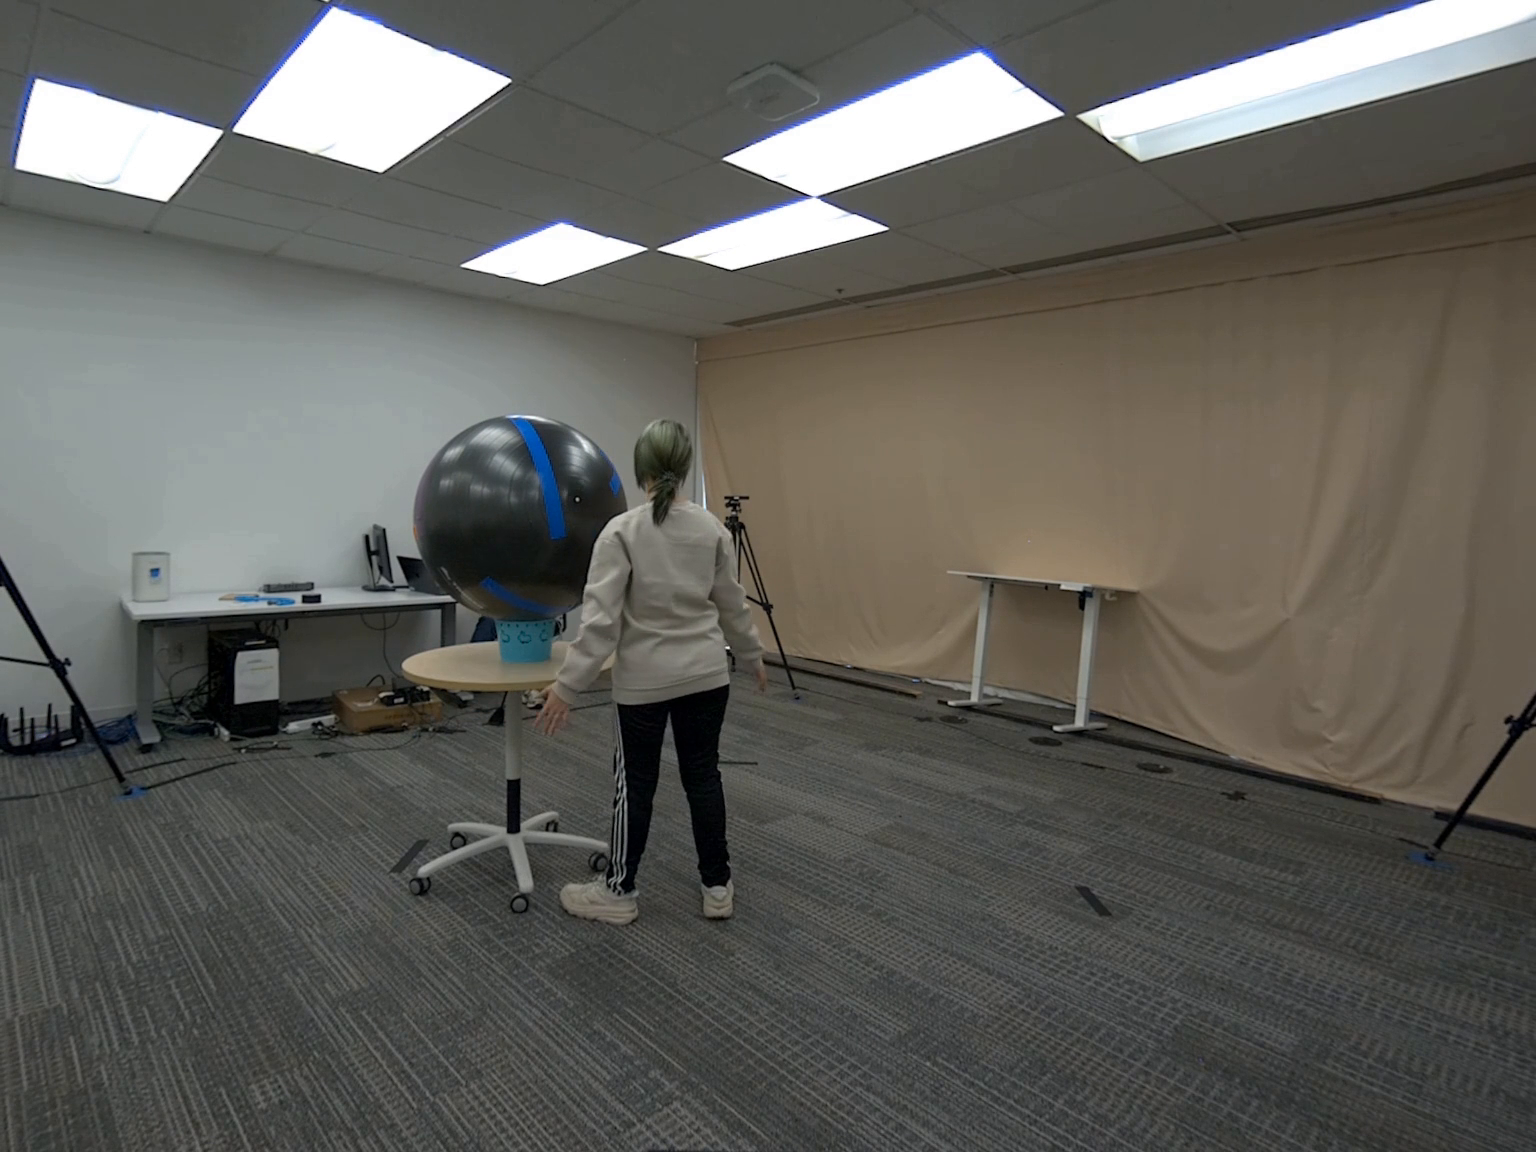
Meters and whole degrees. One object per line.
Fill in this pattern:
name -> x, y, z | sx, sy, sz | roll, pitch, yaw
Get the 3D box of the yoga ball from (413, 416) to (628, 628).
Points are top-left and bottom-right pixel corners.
yoga ball -> -0.900, -0.206, 3.085 | 0.757, 0.756, 0.761 | 1, 4, -1
